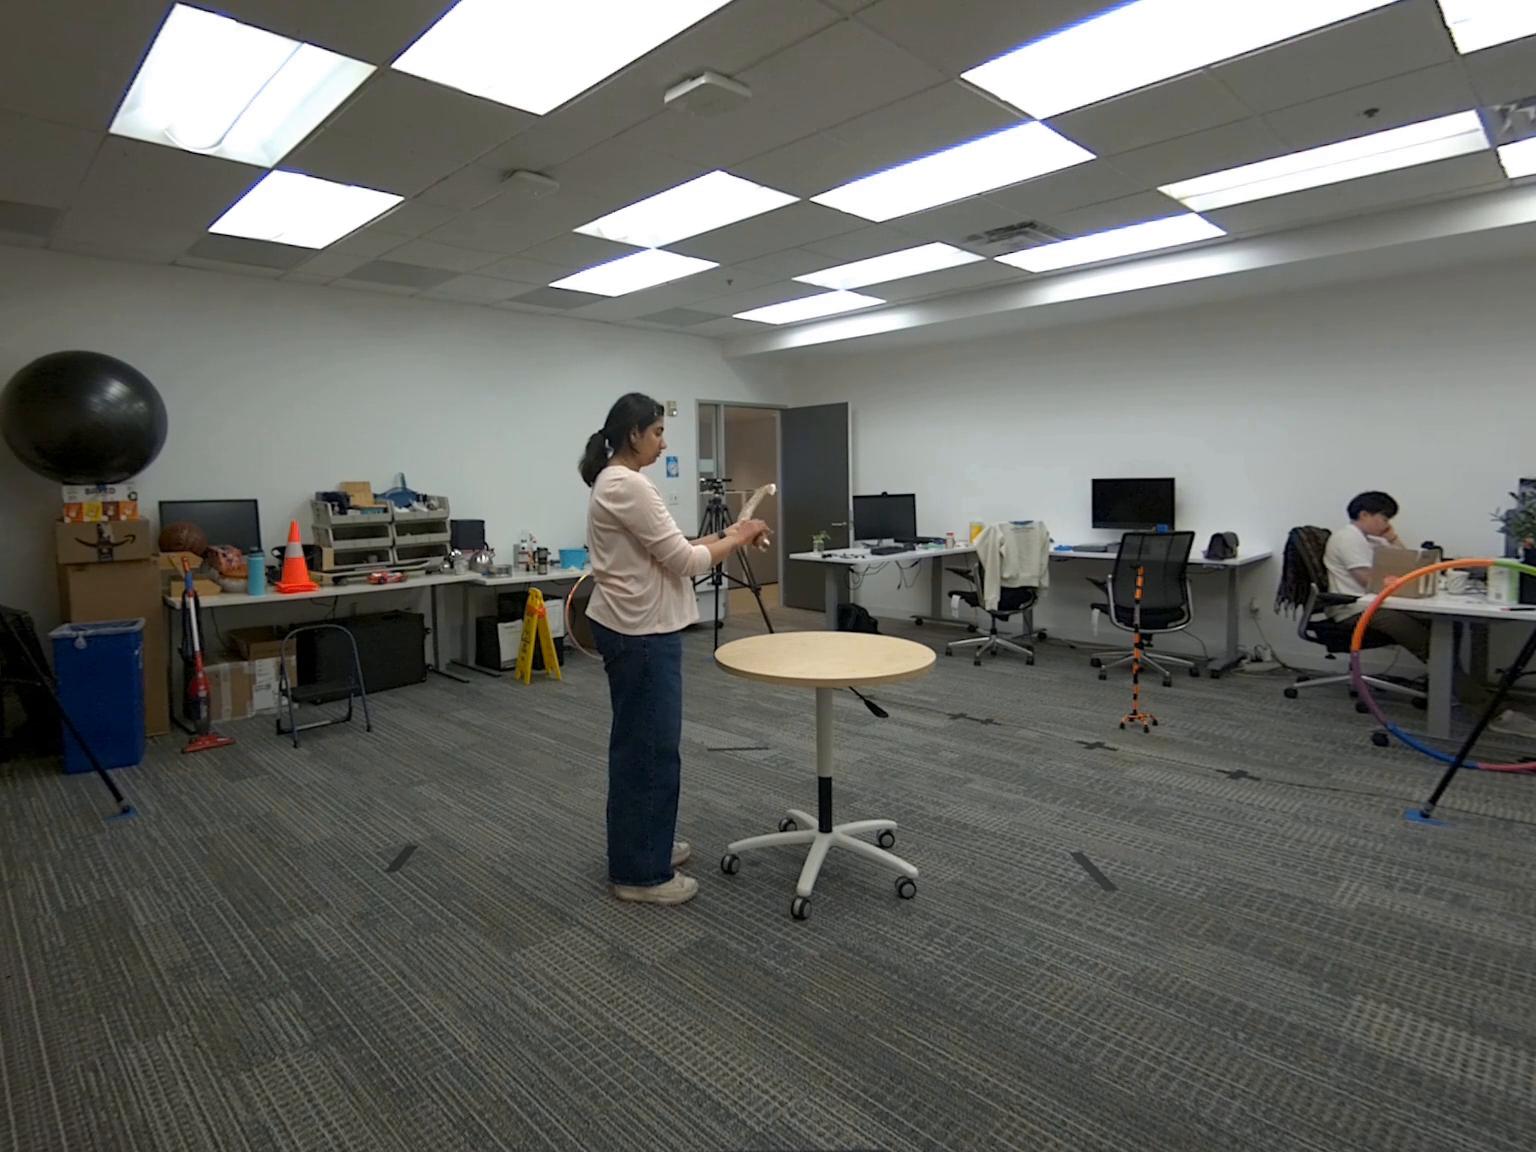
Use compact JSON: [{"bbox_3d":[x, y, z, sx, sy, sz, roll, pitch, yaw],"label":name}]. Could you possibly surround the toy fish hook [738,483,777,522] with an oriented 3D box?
[{"bbox_3d":[-0.021,-0.219,3.122,0.047,0.224,0.518,26,13,-17],"label":"toy fish hook"}]
